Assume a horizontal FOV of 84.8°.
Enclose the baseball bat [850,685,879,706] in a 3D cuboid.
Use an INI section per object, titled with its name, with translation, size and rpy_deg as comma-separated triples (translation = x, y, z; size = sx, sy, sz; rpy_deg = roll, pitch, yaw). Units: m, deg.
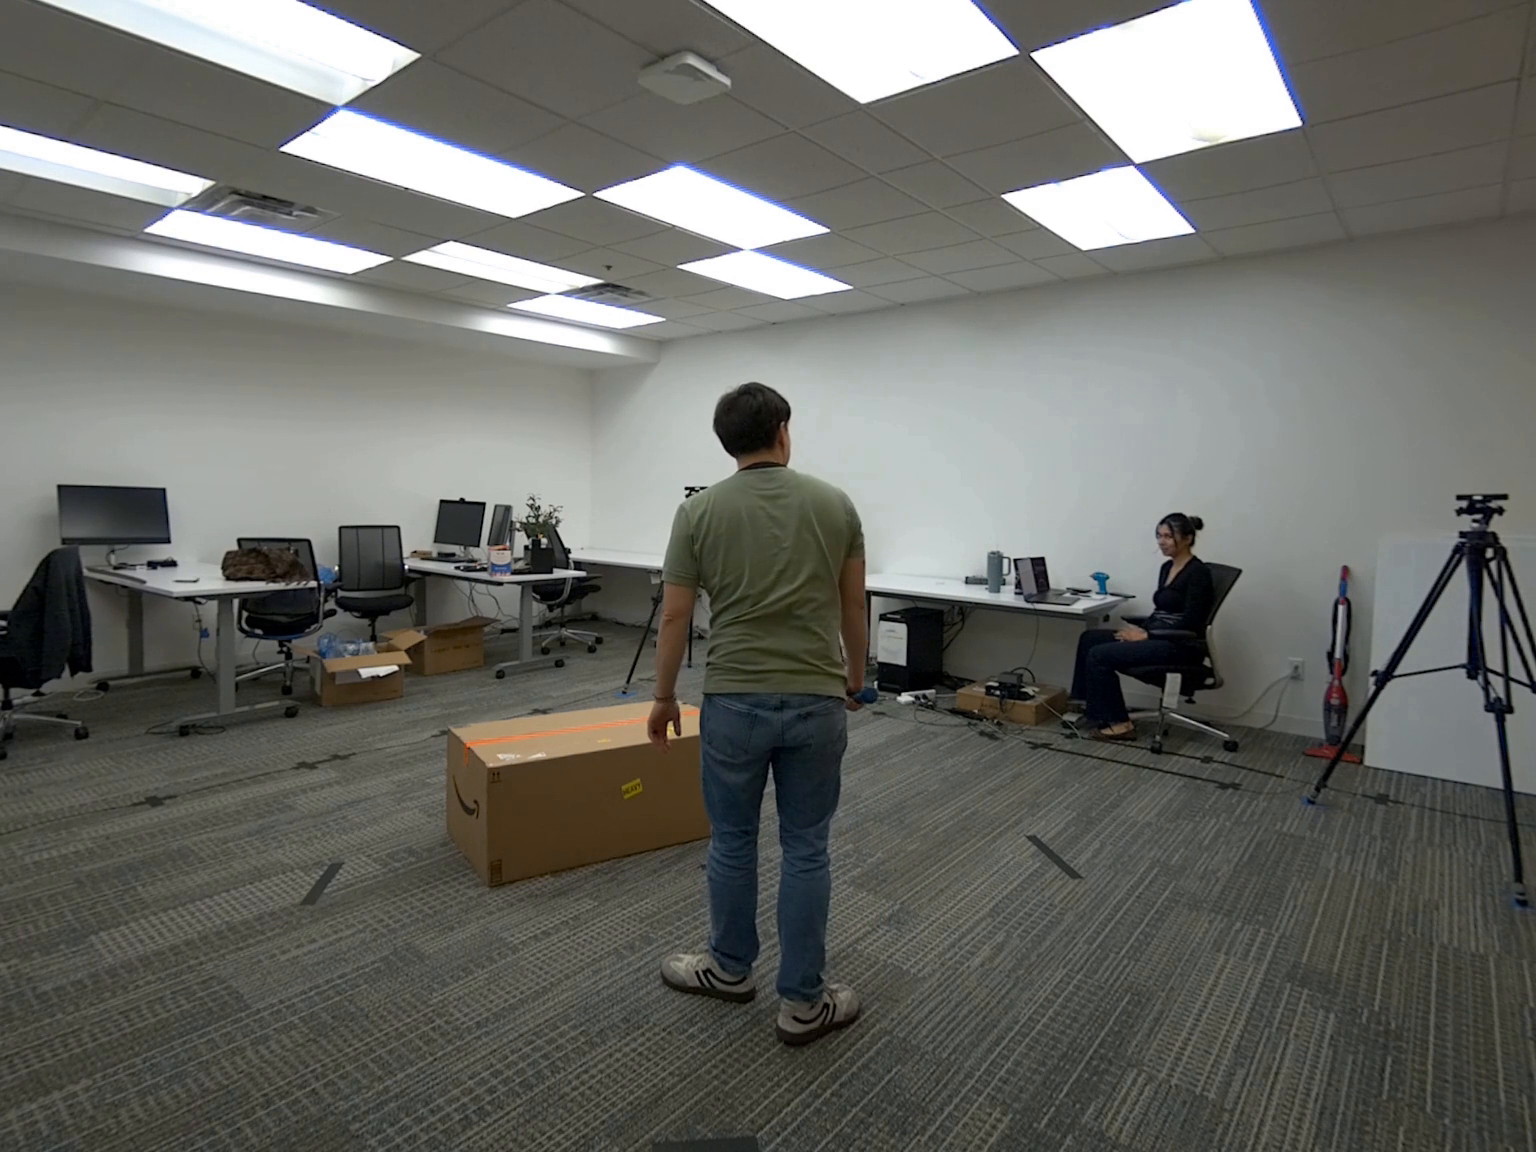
[baseball bat]
translation = 0.177, 0.386, 2.563
size = 0.087, 0.090, 0.548
rpy_deg = -1, -11, -23
